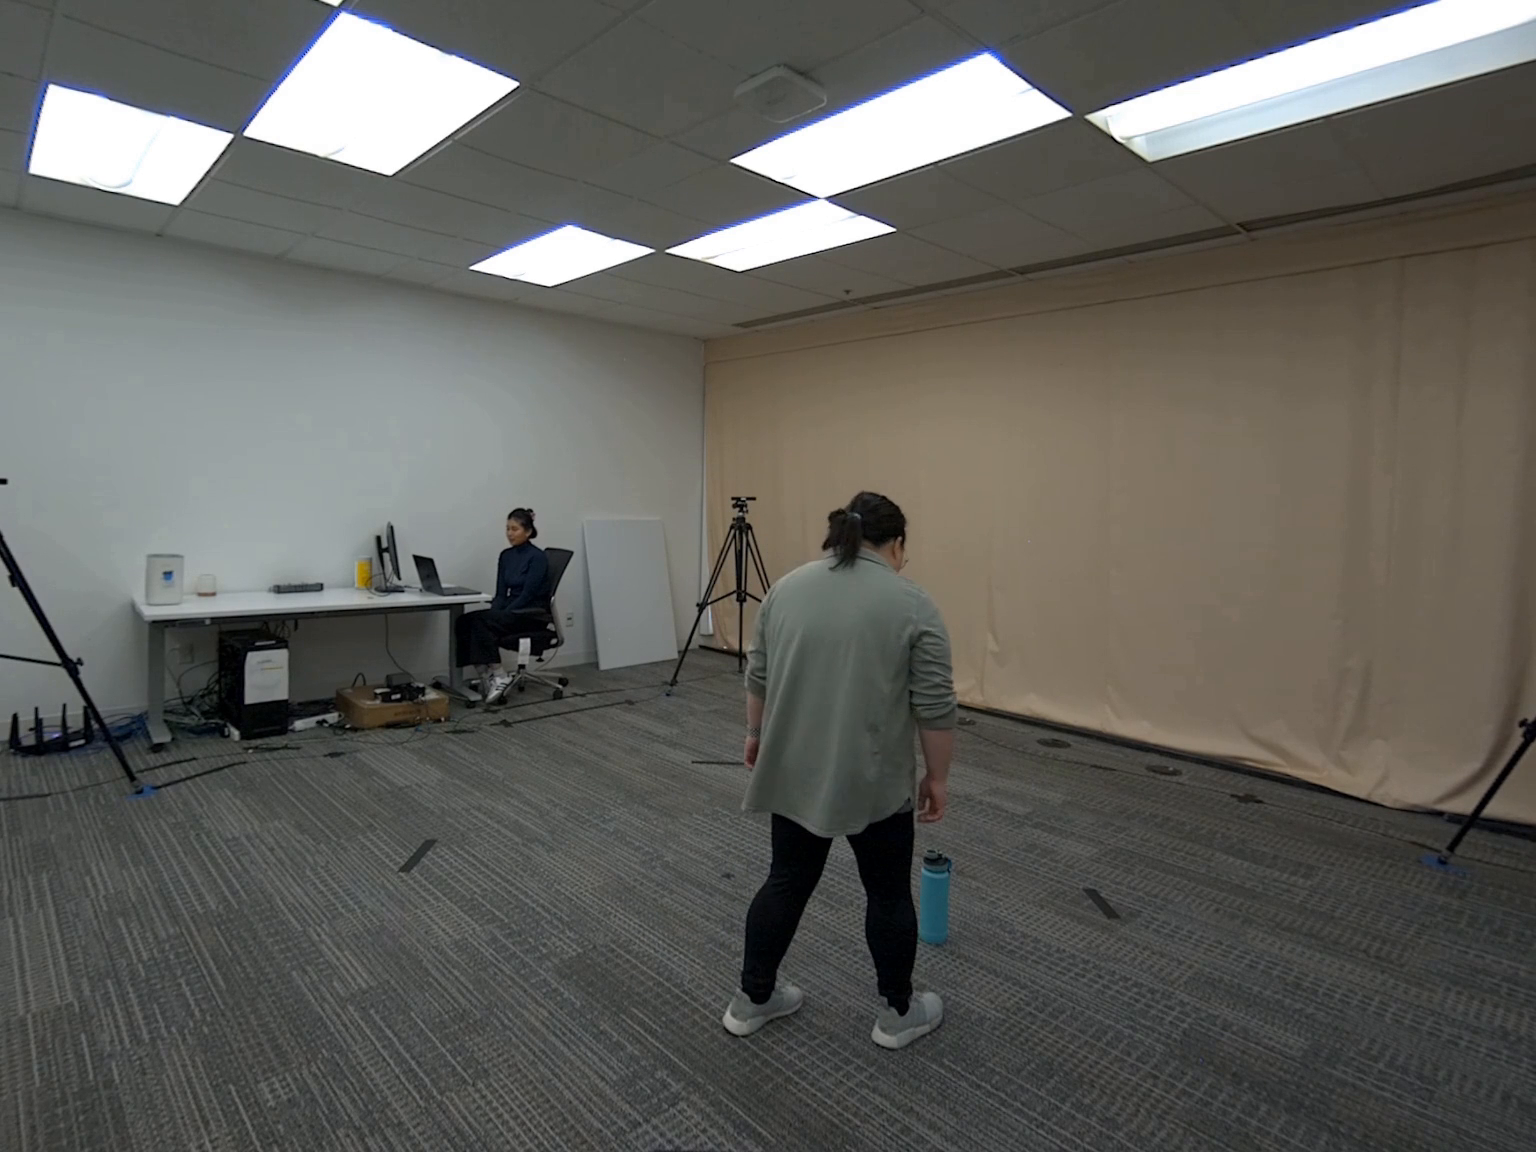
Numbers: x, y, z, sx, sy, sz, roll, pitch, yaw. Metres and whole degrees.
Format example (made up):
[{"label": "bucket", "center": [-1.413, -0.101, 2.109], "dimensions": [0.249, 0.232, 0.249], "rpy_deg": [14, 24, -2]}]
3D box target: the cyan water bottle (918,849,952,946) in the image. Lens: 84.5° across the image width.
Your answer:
[{"label": "cyan water bottle", "center": [0.531, 1.025, 2.687], "dimensions": [0.092, 0.282, 0.093], "rpy_deg": [2, 6, -2]}]
